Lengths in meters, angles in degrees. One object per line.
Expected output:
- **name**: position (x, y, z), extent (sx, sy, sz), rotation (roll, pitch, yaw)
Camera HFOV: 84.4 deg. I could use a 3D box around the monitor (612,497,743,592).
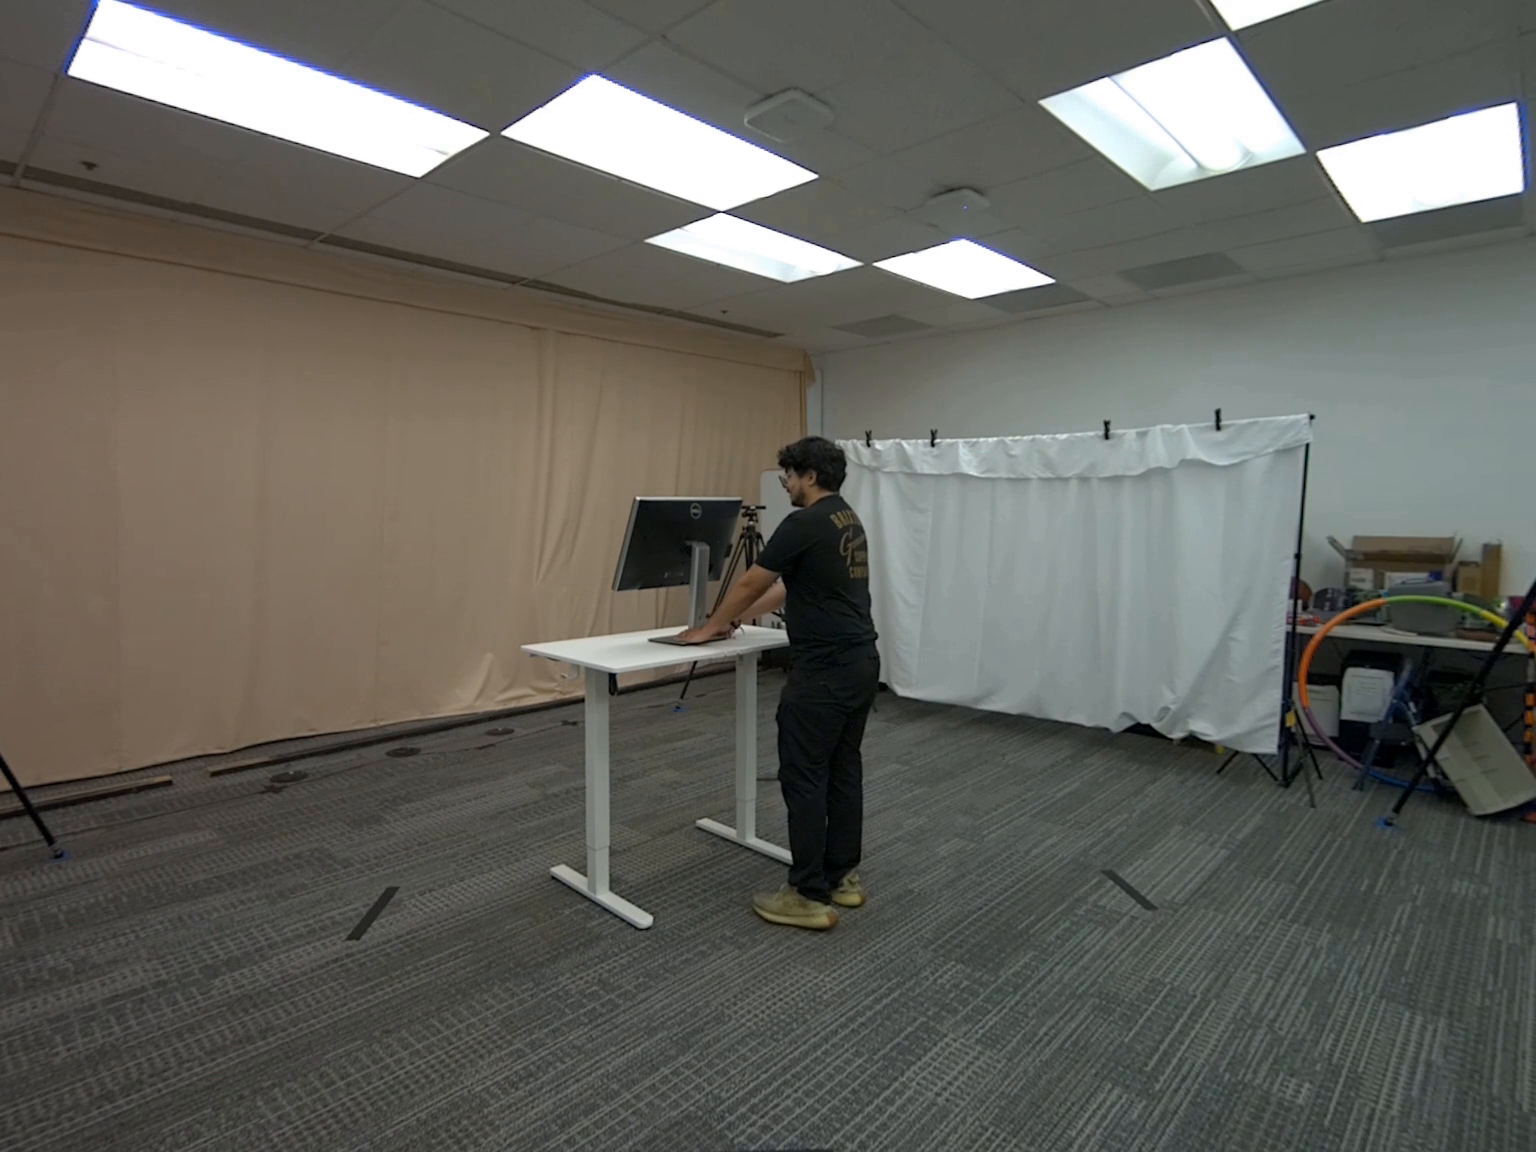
- **monitor**: position (-0.284, -0.022, 3.171), extent (0.218, 0.551, 0.548), rotation (17, 14, 39)
